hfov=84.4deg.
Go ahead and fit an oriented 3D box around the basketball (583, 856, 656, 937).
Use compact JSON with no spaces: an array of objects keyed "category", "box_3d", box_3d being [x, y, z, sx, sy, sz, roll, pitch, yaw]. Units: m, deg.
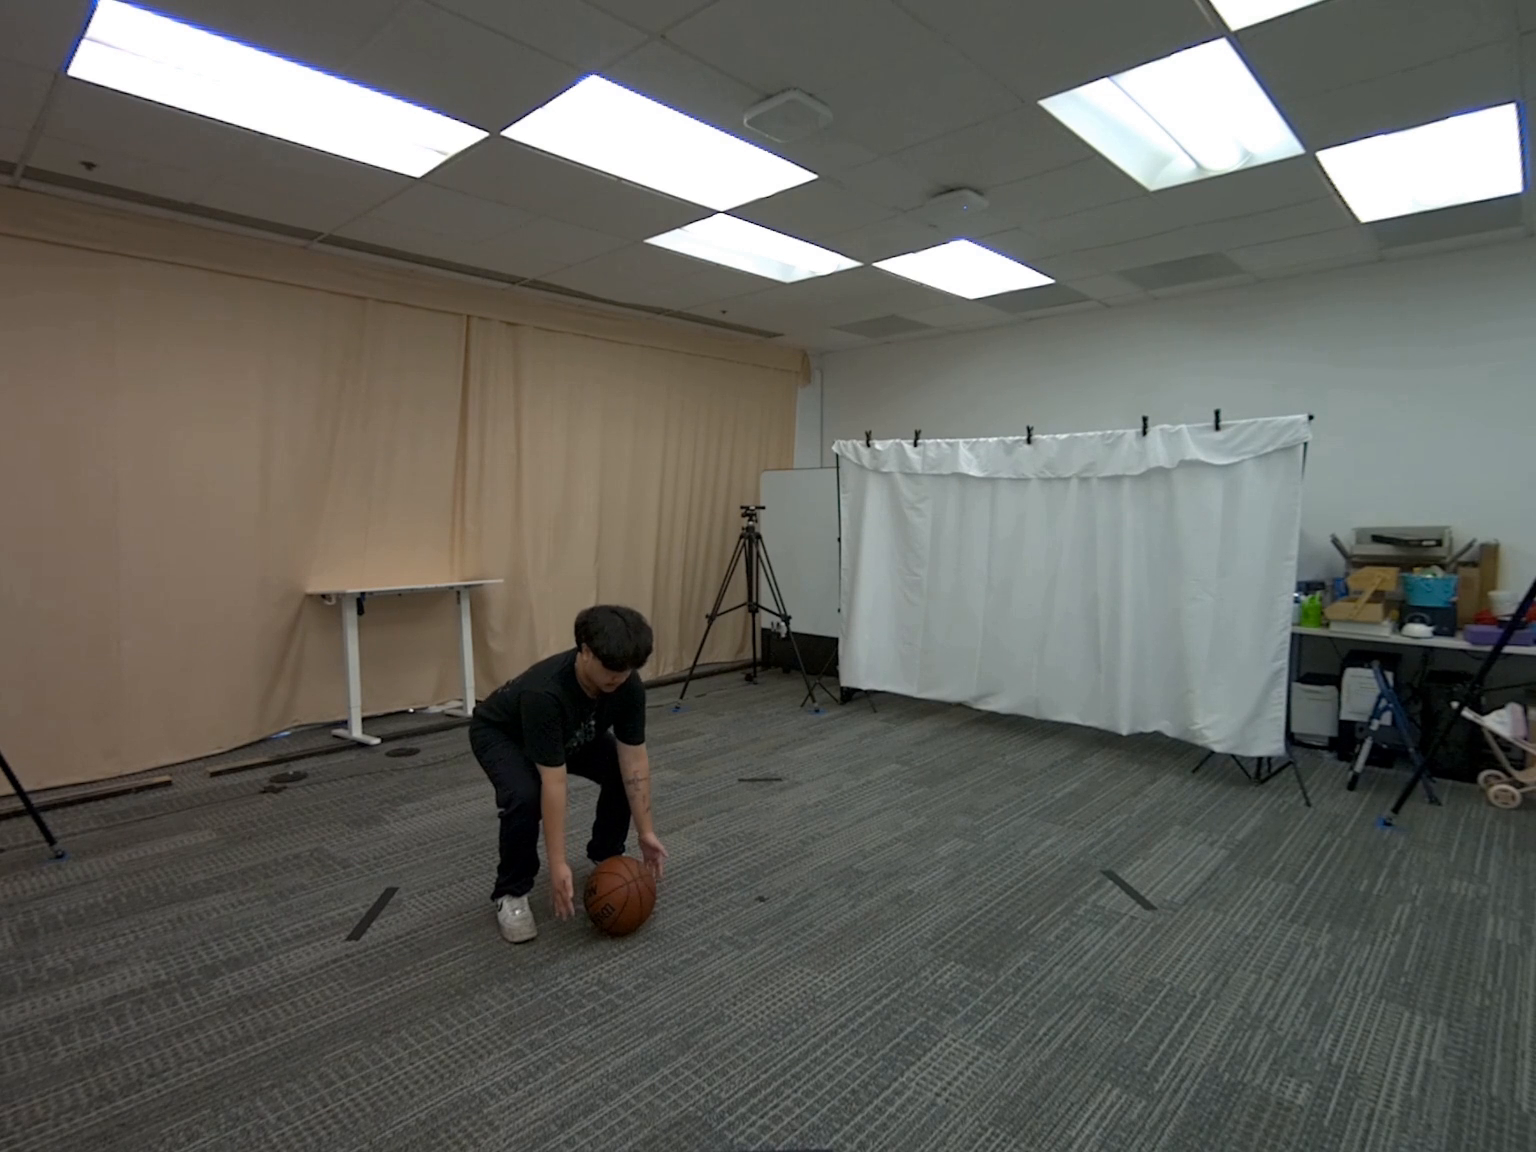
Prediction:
[{"category":"basketball","box_3d":[-0.486,1.041,2.768,0.236,0.235,0.237,0,4,-2]}]
